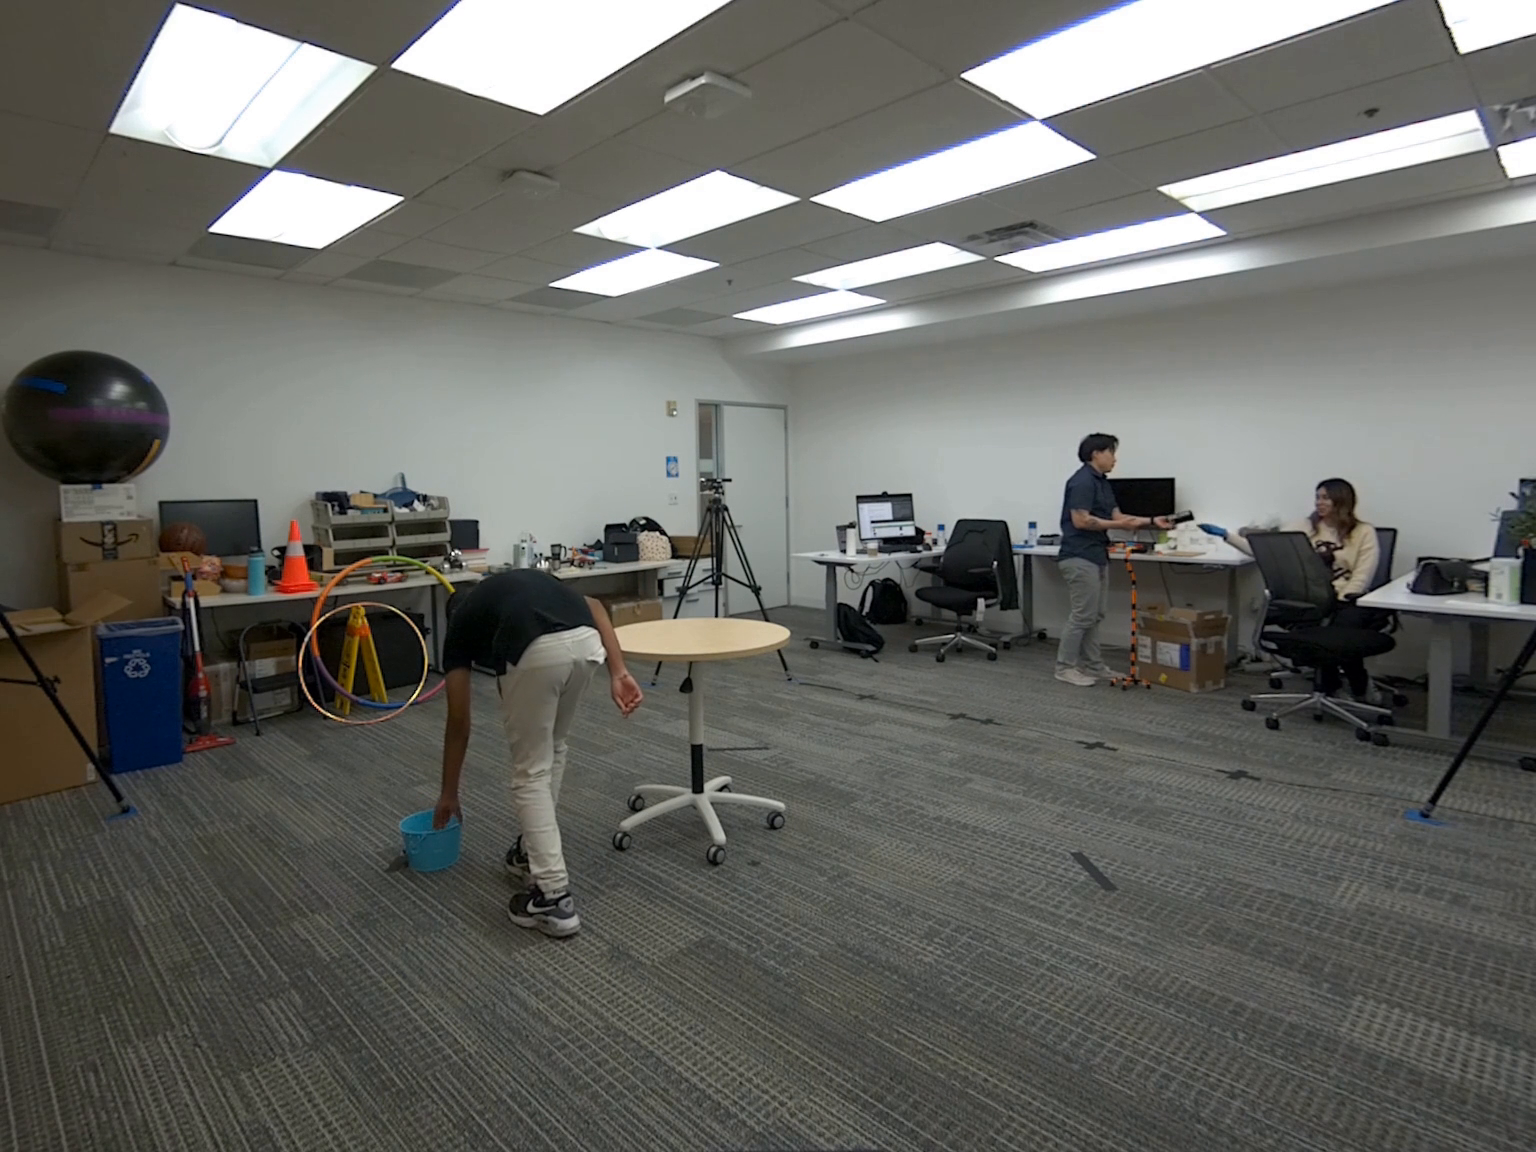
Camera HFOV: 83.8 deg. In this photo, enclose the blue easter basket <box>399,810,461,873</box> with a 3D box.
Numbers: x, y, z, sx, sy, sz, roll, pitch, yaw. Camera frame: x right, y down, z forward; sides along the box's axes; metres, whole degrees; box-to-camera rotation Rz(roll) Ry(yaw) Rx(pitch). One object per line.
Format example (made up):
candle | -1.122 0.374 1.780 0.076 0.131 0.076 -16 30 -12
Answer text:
blue easter basket | -1.248 0.983 3.187 0.243 0.155 0.245 -1 7 -2
